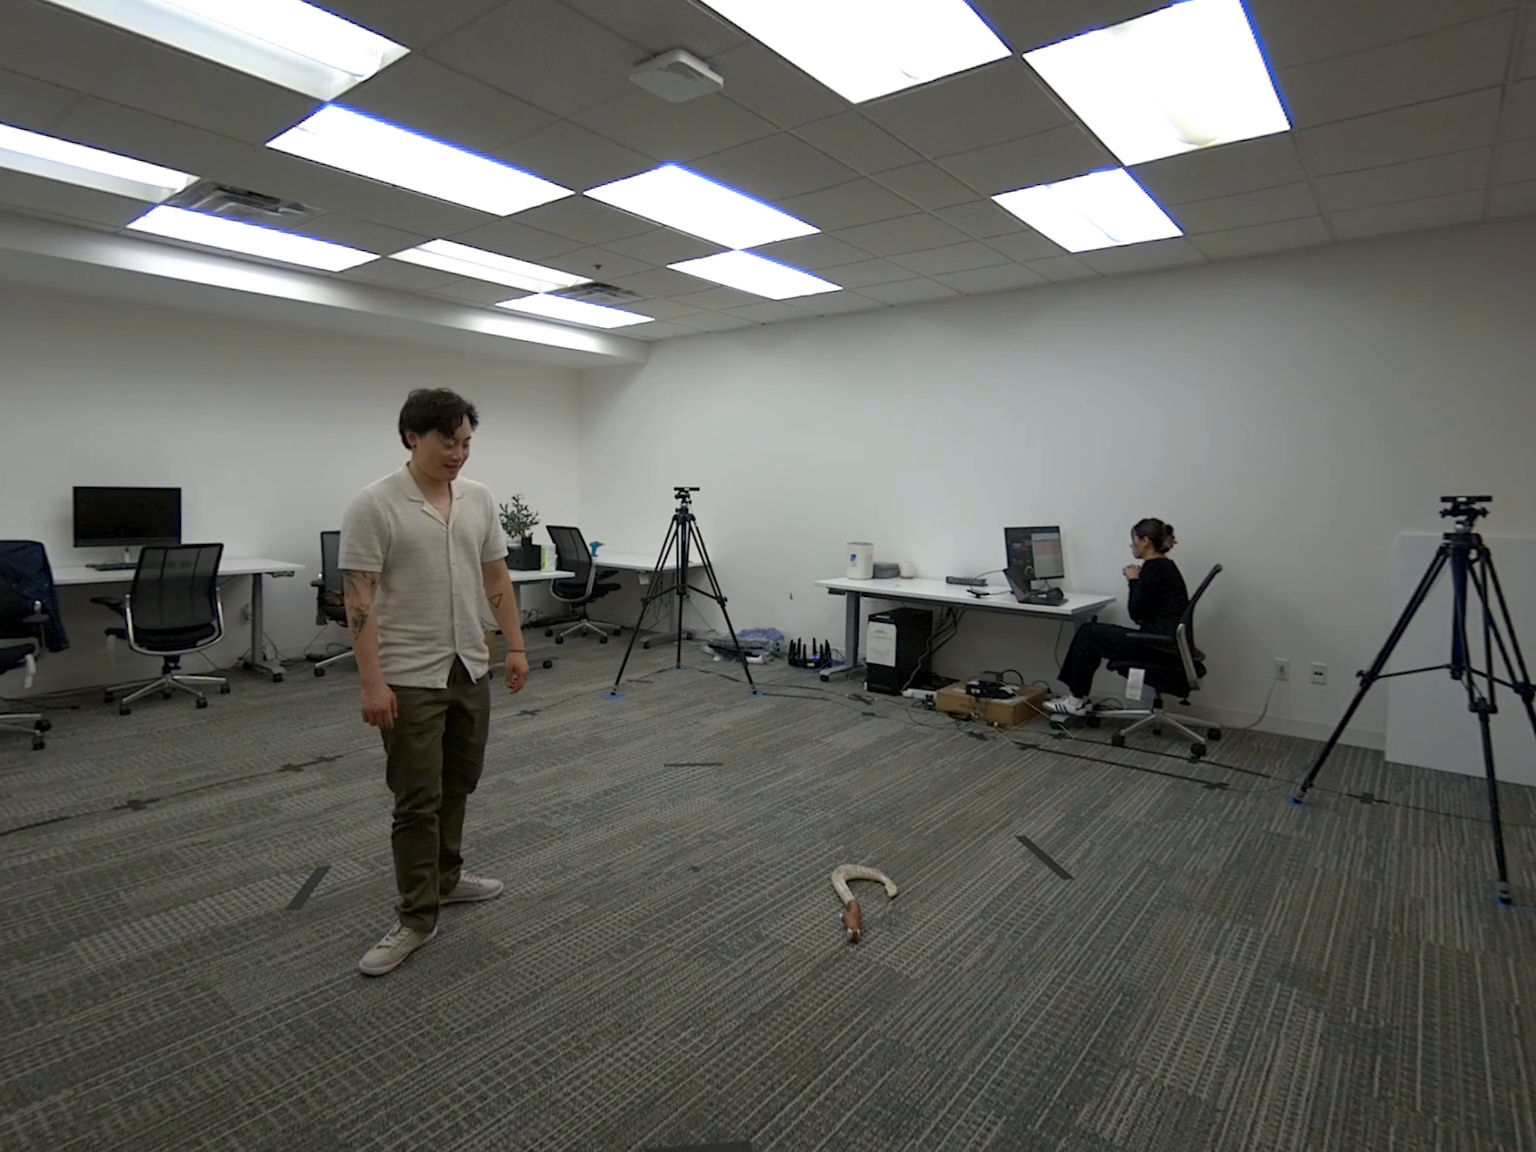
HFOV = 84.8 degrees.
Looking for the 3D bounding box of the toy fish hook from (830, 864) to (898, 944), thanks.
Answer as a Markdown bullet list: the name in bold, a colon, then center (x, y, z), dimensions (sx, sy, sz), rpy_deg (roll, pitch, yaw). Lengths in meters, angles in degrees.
- **toy fish hook**: center (0.322, 1.079, 2.845), dimensions (0.226, 0.048, 0.505), rpy_deg (0, 6, 4)
